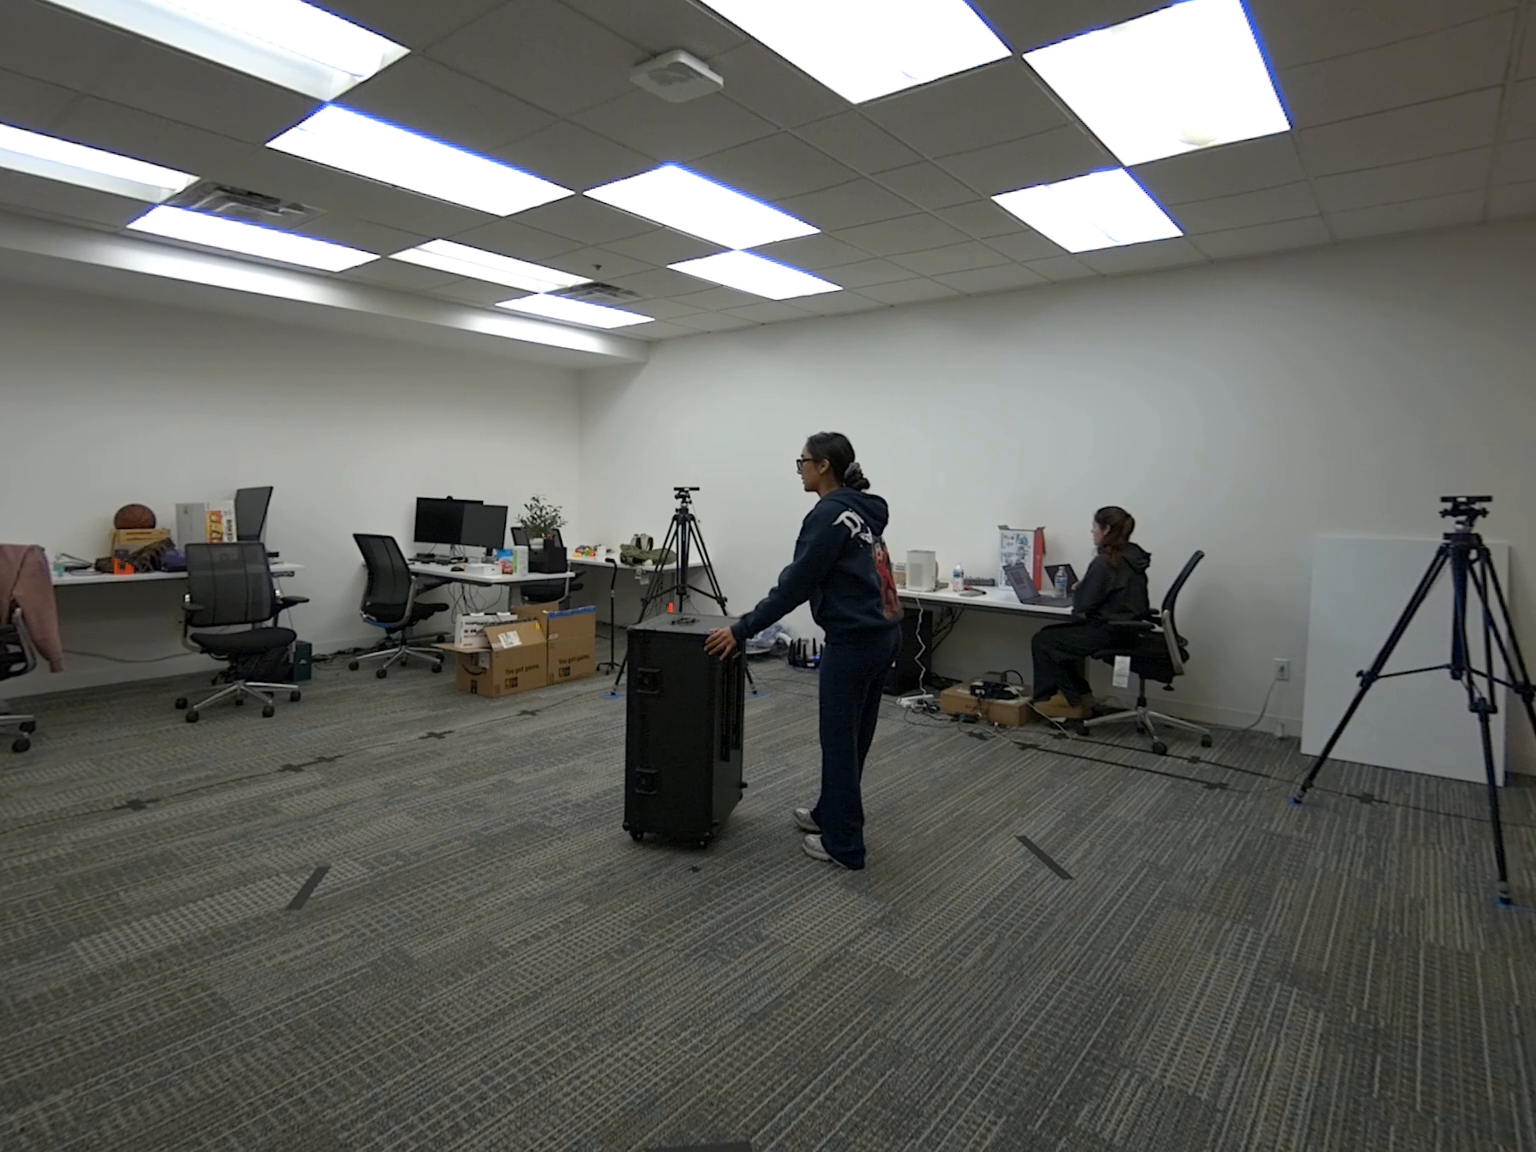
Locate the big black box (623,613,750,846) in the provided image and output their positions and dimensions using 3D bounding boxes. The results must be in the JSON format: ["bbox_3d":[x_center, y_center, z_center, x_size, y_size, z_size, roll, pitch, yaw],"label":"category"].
[{"bbox_3d":[-0.326,0.610,3.442,0.403,0.859,0.514,3,4,14],"label":"big black box"}]
